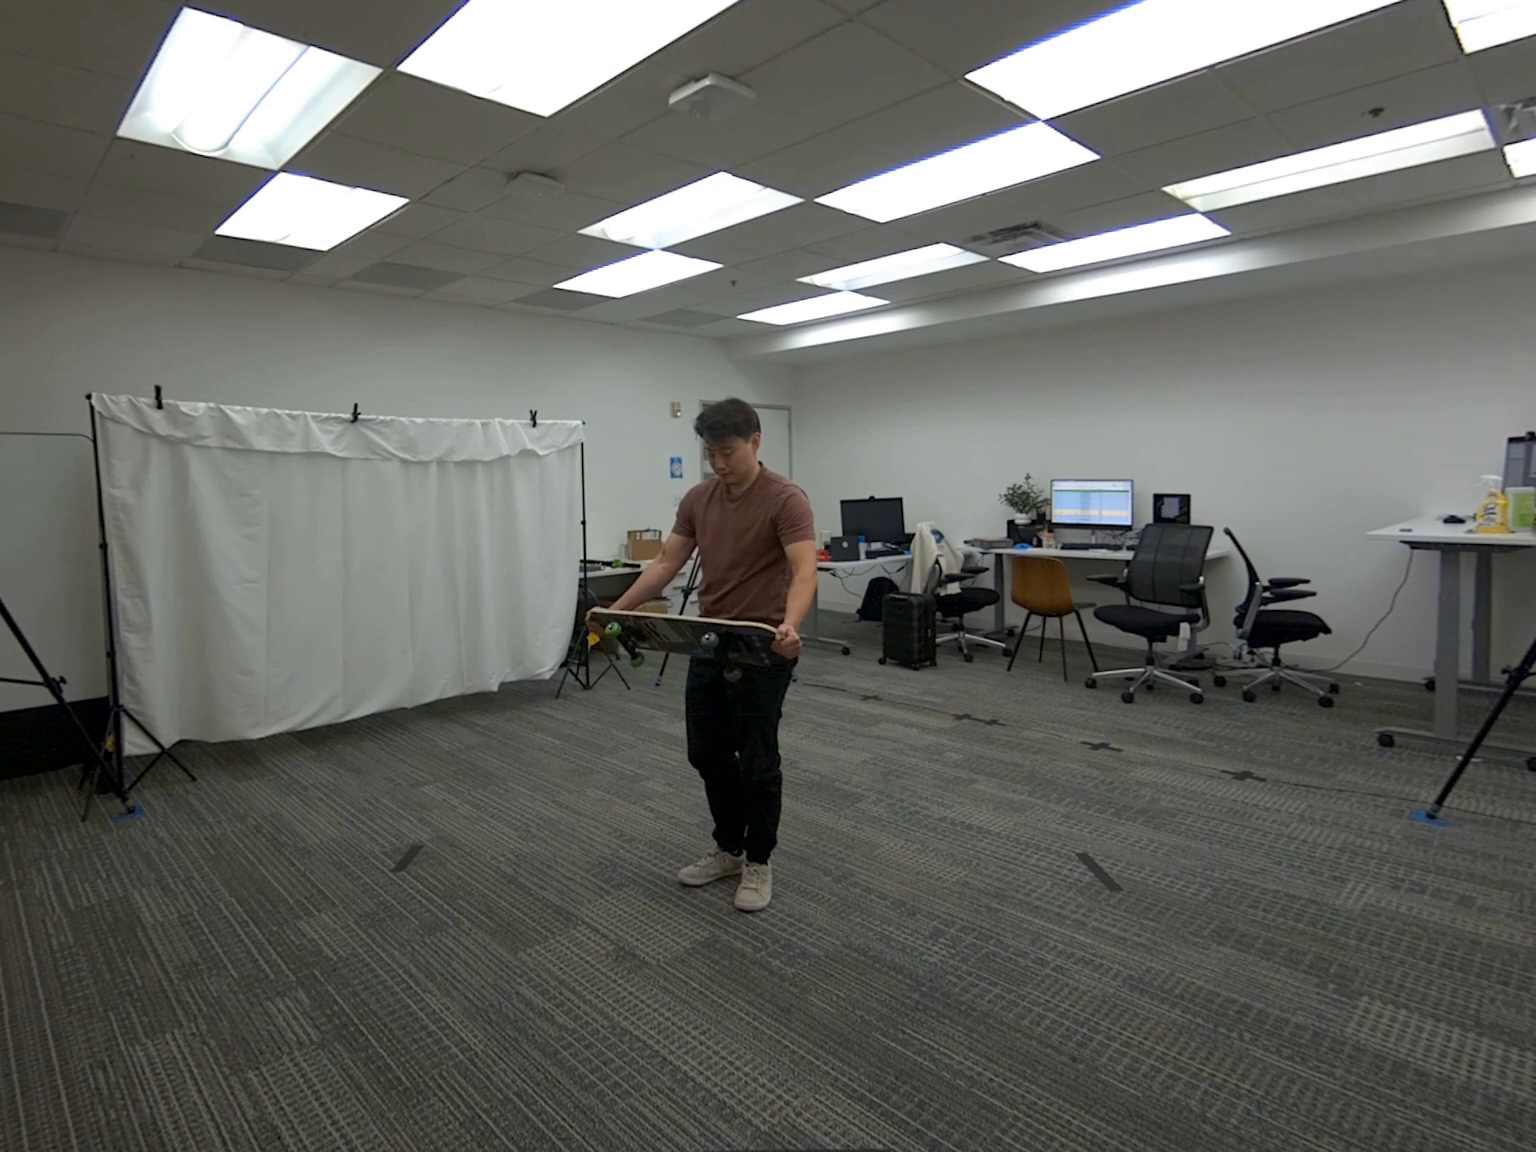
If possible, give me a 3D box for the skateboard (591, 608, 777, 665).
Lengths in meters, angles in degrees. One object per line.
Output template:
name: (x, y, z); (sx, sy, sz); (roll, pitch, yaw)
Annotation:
skateboard: (-0.281, 0.213, 2.636); (0.808, 0.111, 0.186); (2, -40, 37)
